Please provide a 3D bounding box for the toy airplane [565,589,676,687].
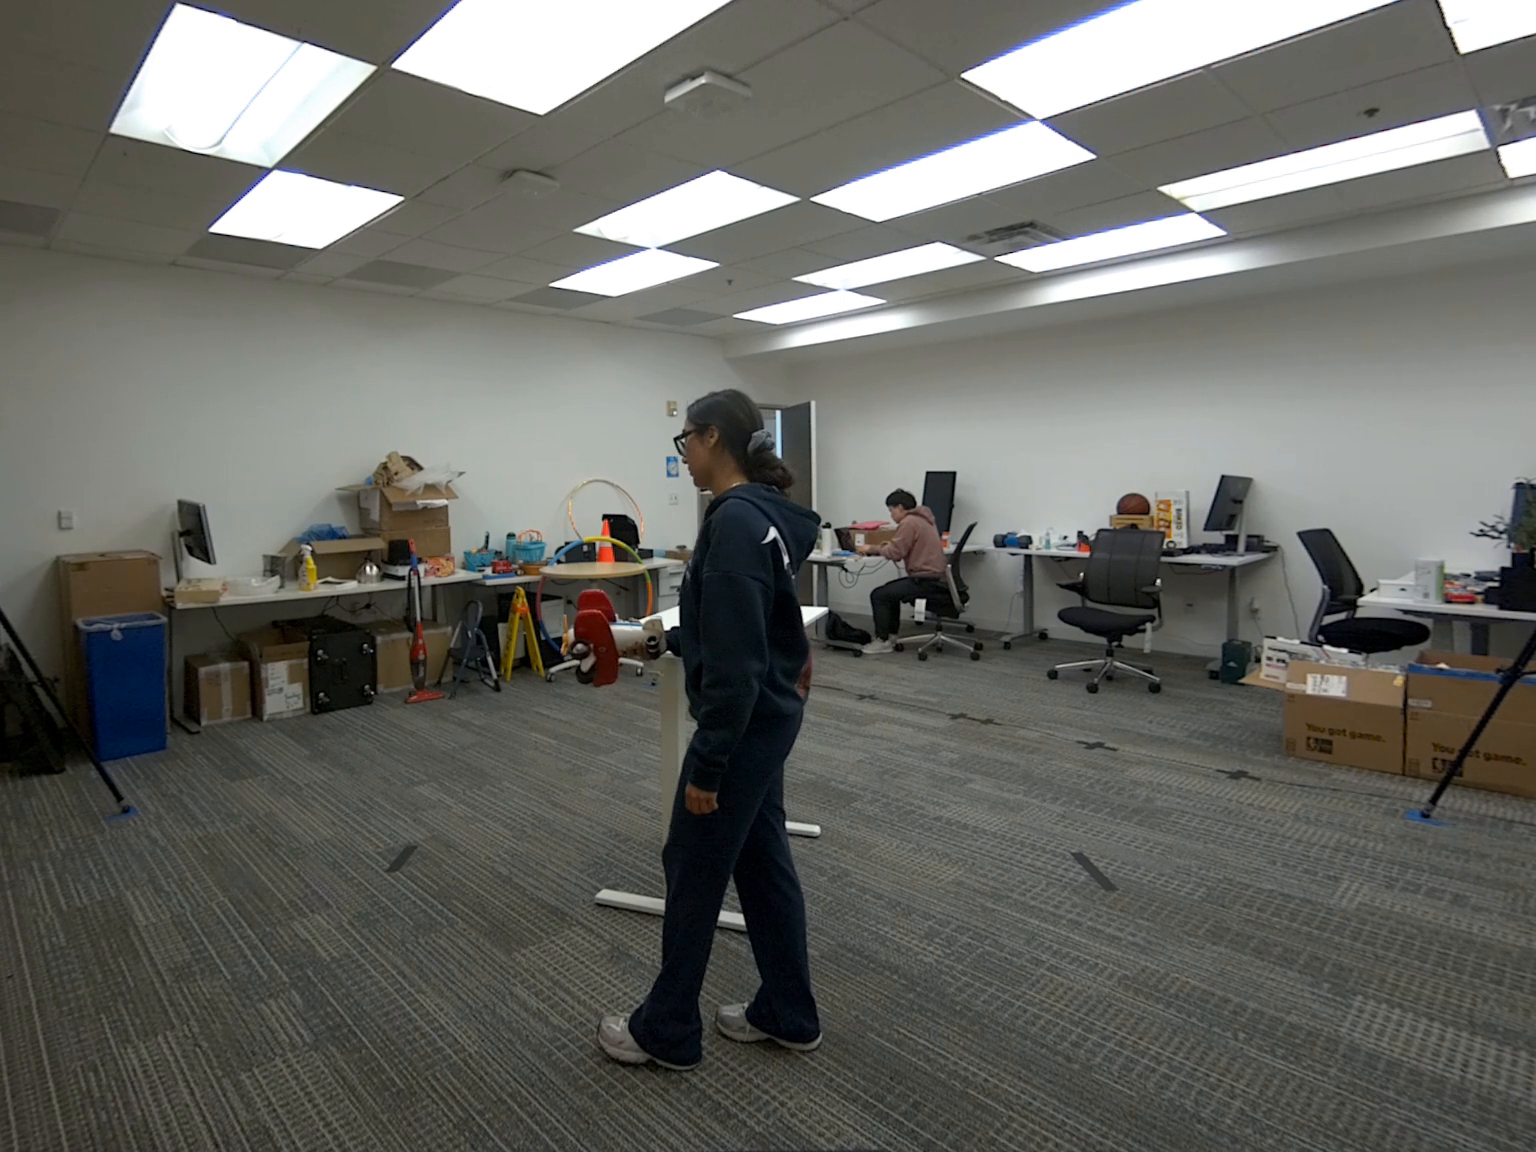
[{"bbox_3d":[-0.391,0.176,2.181,0.252,0.248,0.162,11,31,-27],"label":"toy airplane"}]
